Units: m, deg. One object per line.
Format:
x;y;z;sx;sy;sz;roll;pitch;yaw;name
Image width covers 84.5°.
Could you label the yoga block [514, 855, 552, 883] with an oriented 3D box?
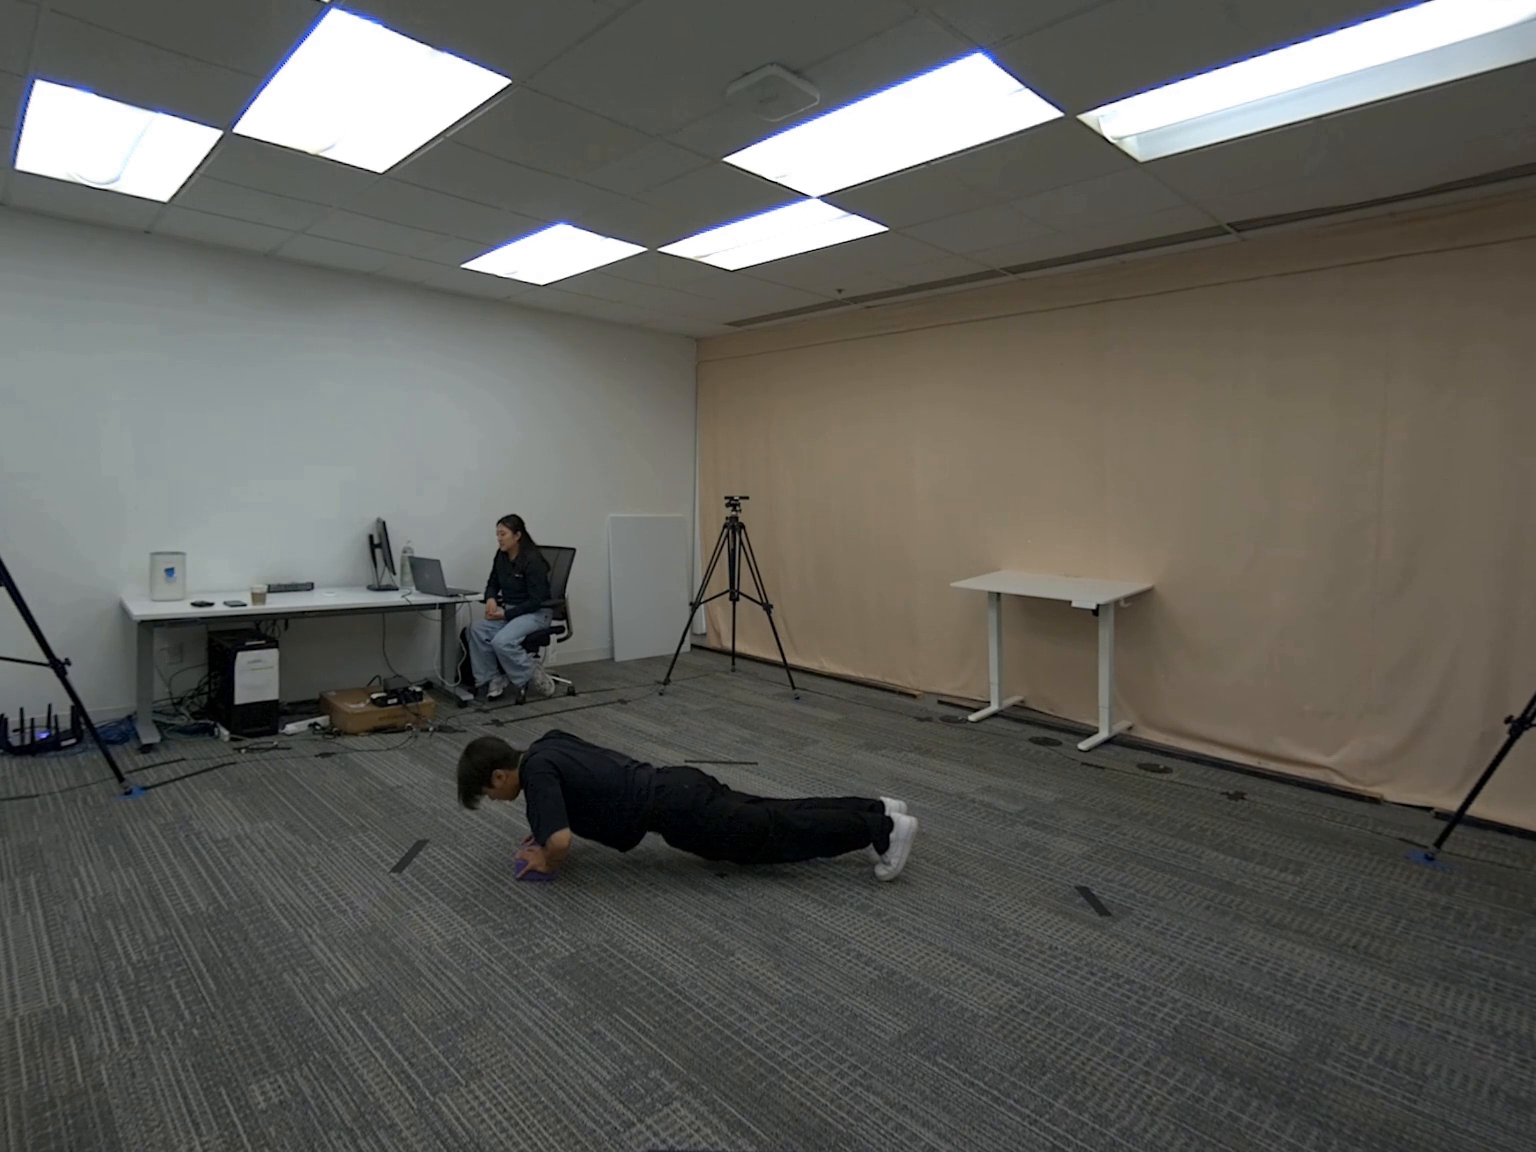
-0.846;1.047;3.134;0.148;0.076;0.231;-1;5;-5;yoga block
